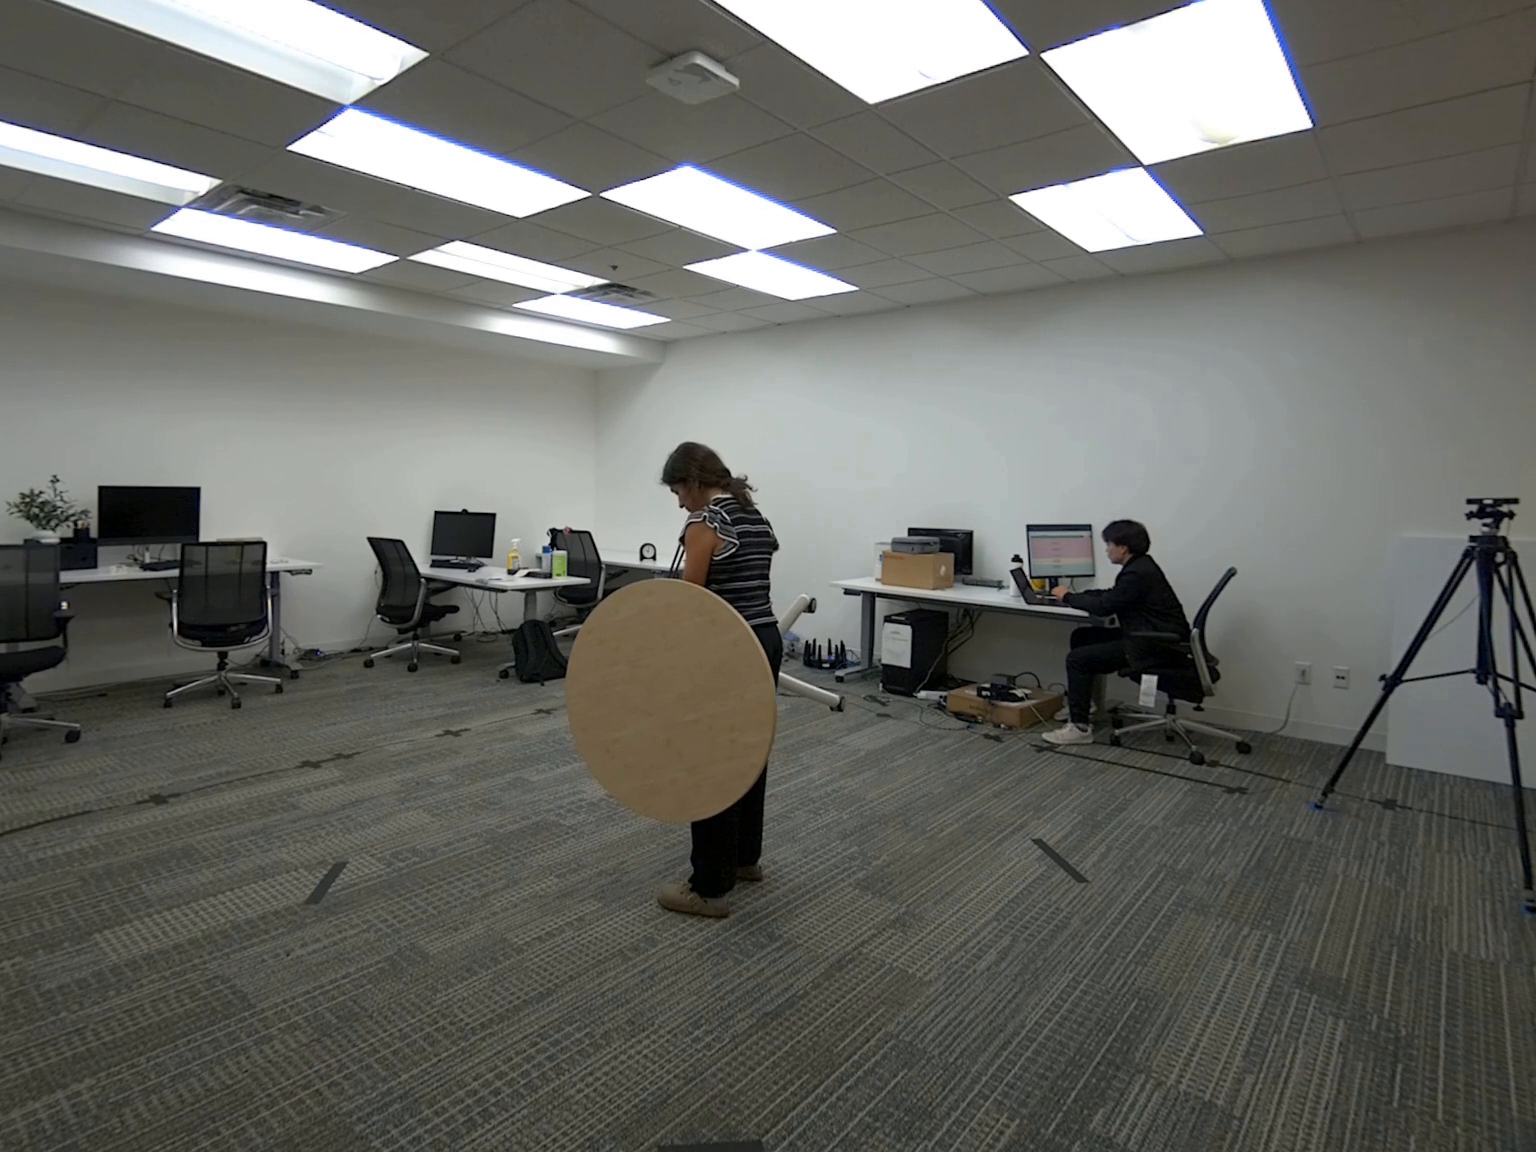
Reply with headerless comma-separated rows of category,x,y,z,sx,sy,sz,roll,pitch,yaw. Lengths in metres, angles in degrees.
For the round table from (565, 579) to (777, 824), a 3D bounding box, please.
round table,-0.182,0.379,3.045,0.785,0.763,0.774,3,3,26
